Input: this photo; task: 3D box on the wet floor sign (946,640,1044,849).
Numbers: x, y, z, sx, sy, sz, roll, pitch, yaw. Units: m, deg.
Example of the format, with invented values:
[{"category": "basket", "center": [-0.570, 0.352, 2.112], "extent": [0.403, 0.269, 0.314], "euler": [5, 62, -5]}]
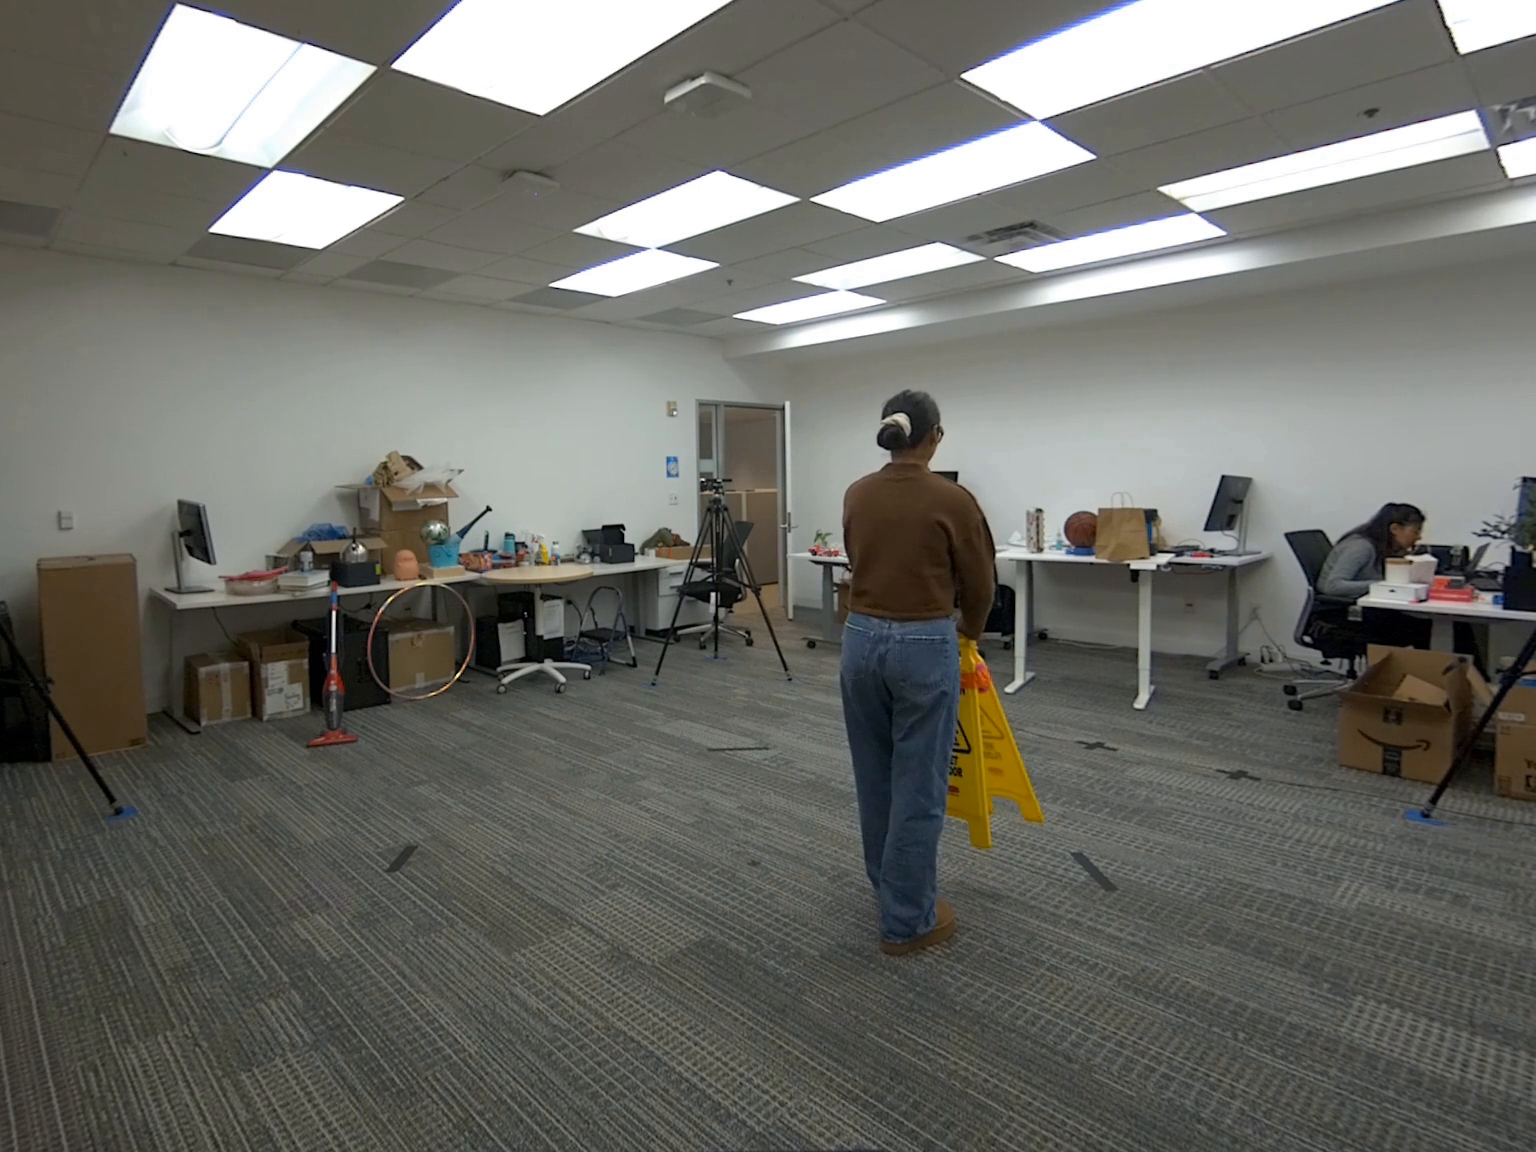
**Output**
[{"category": "wet floor sign", "center": [0.661, 0.516, 2.831], "extent": [0.283, 0.648, 0.288], "euler": [-7, -2, -33]}]
